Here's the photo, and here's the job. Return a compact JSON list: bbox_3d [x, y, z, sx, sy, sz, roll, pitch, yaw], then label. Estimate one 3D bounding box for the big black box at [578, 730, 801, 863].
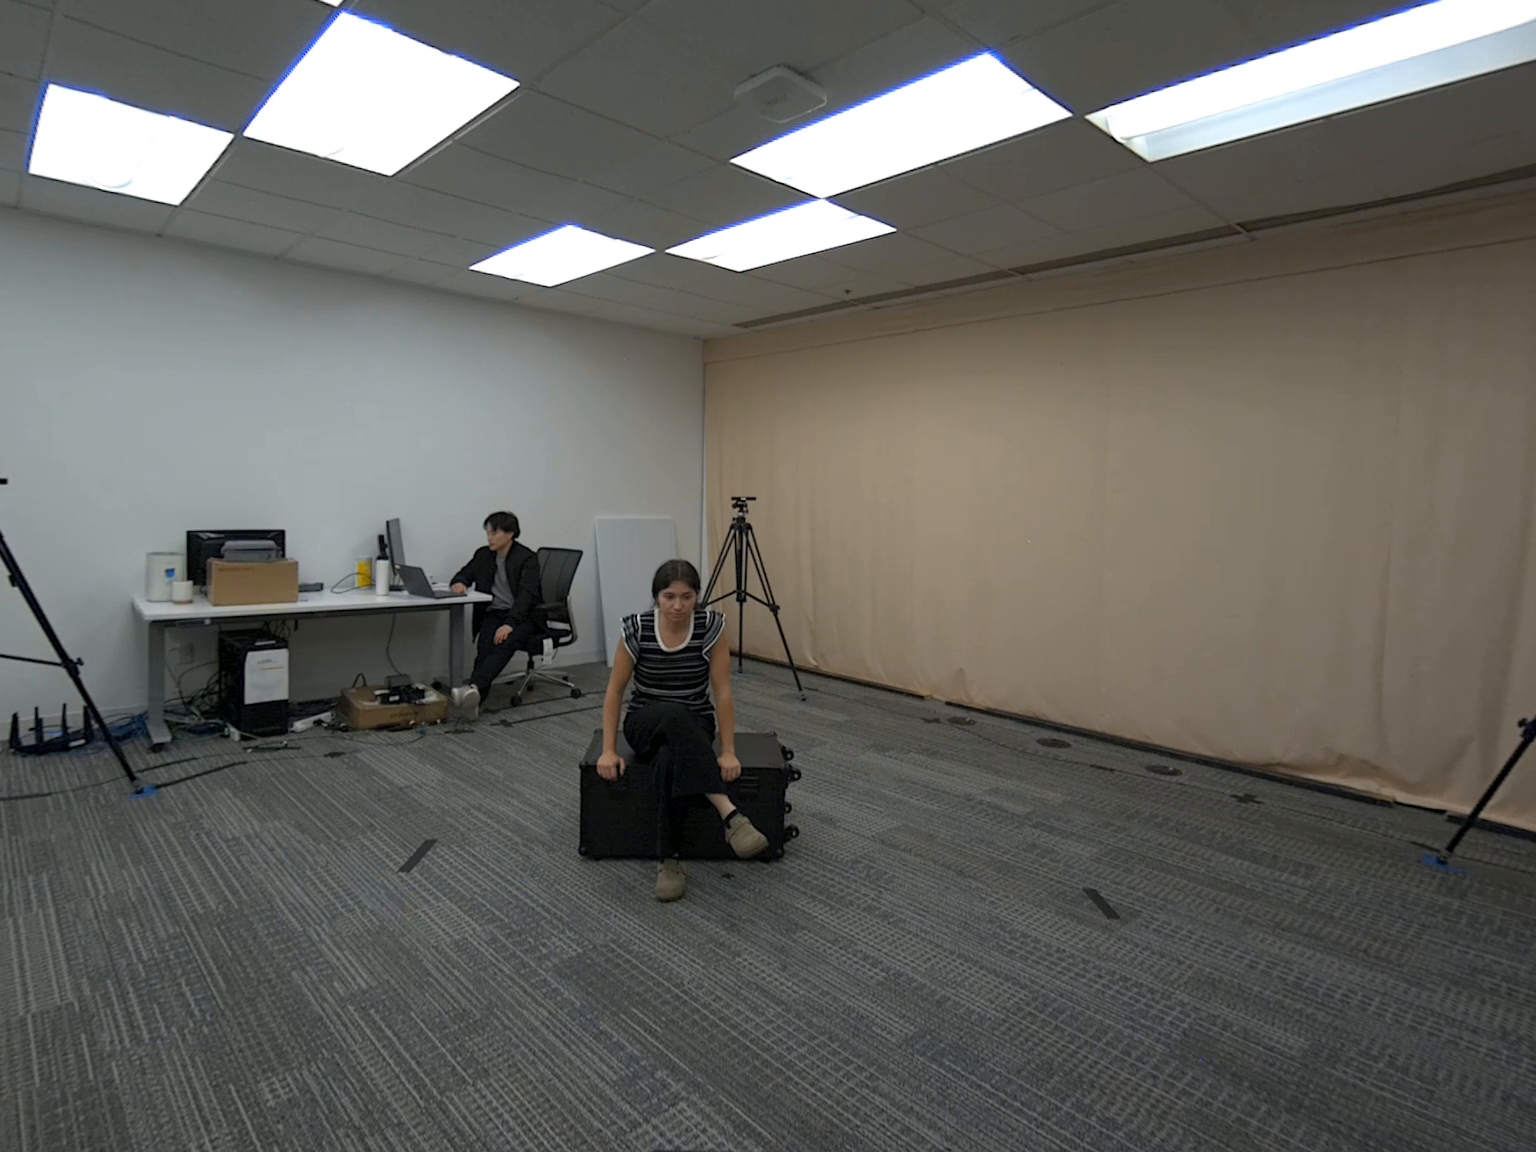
[{"bbox_3d":[-0.315,0.880,3.433,0.859,0.395,0.524,1,5,-4],"label":"big black box"}]
